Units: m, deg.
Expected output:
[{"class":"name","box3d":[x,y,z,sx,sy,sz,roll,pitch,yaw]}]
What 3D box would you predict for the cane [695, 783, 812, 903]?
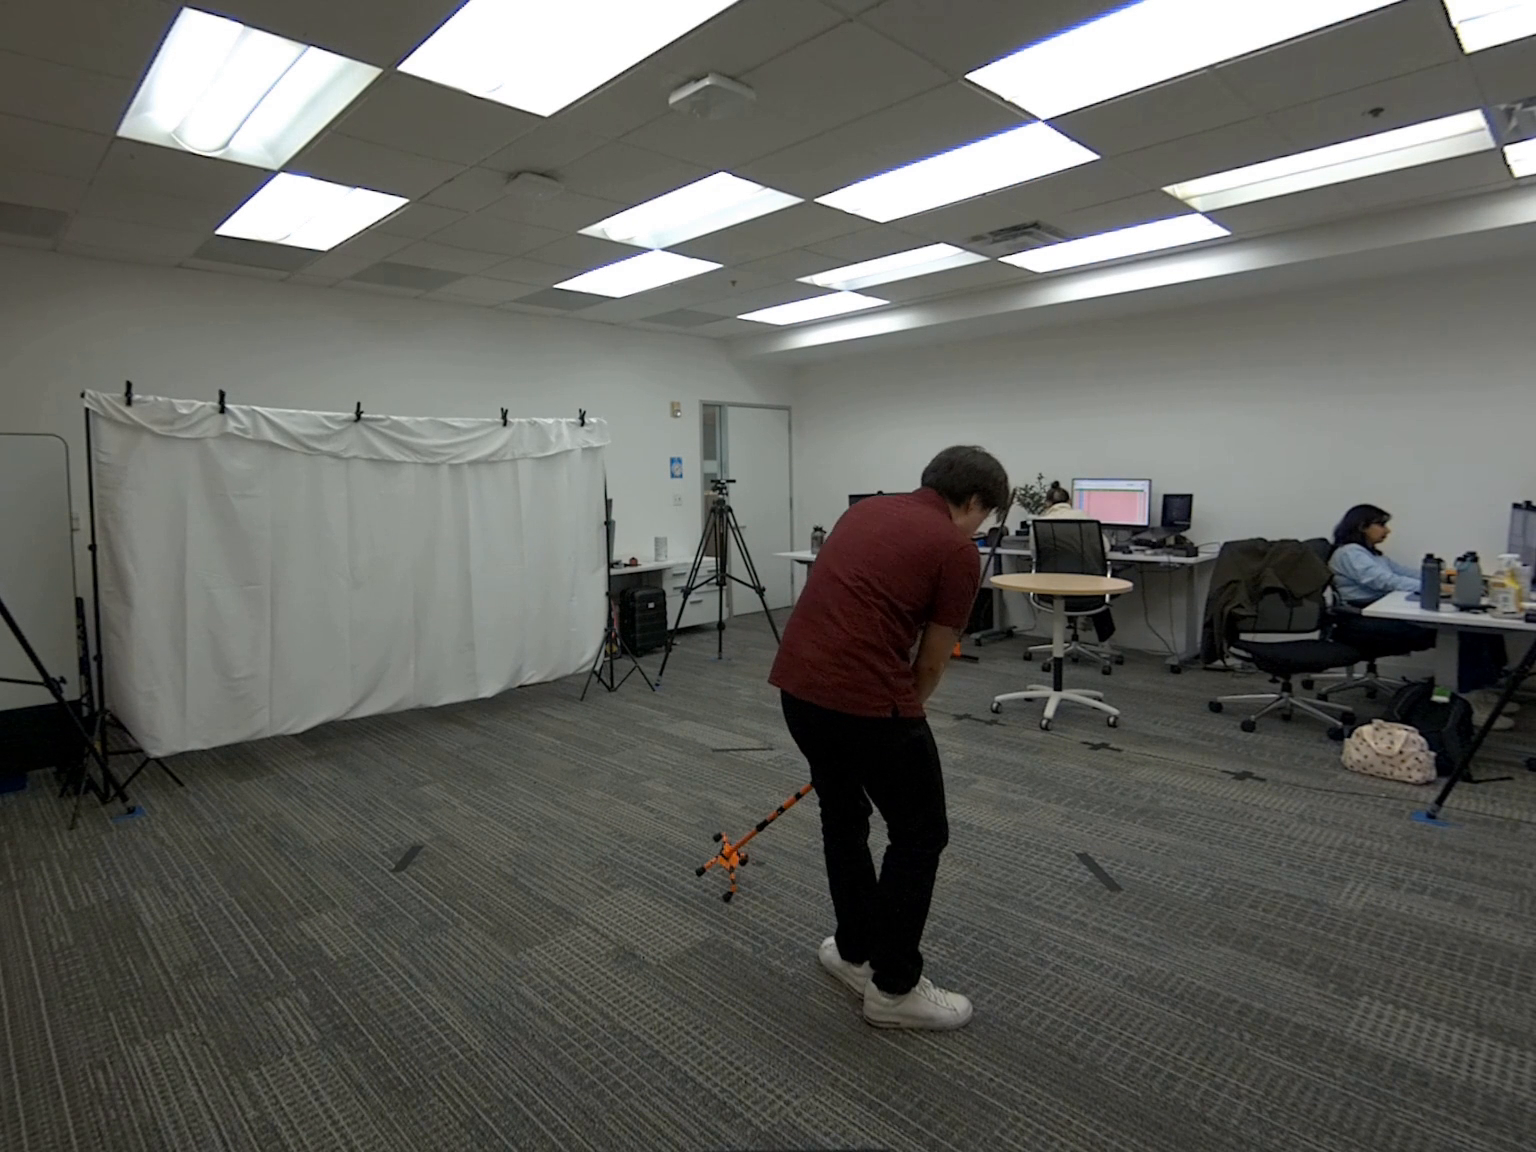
[{"class":"cane","box3d":[0.115,0.716,2.717,0.908,0.152,0.206,-46,-2,28]}]
